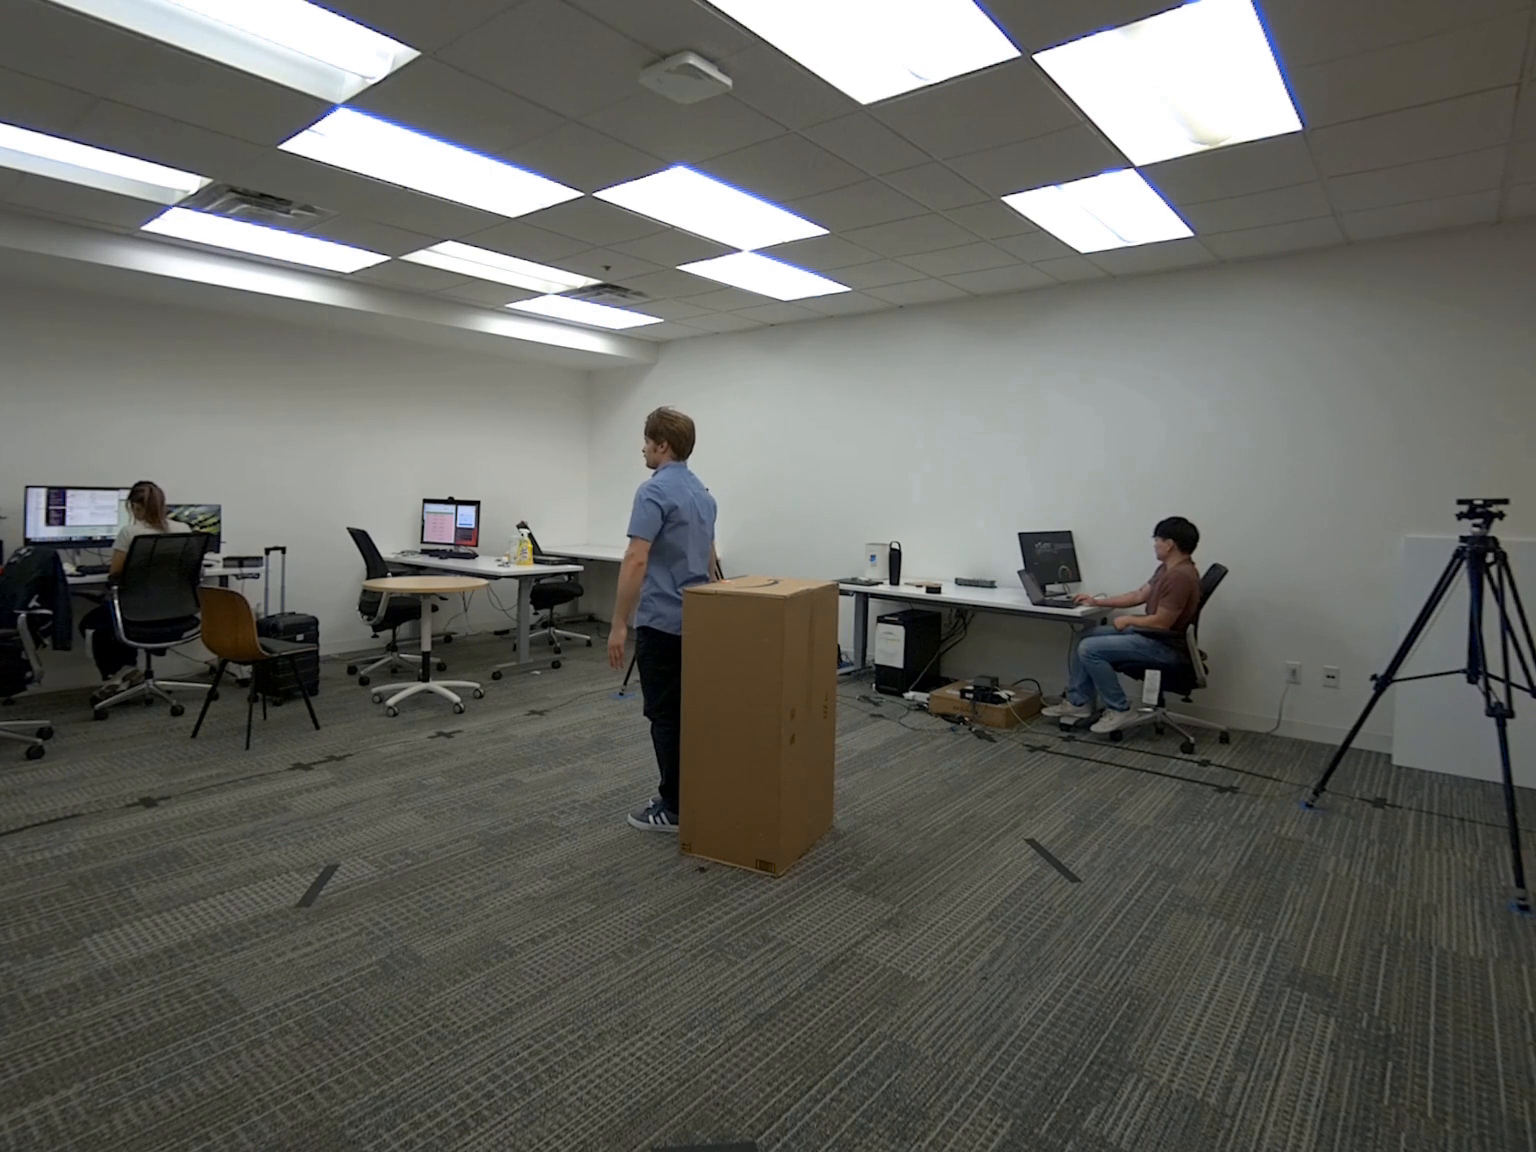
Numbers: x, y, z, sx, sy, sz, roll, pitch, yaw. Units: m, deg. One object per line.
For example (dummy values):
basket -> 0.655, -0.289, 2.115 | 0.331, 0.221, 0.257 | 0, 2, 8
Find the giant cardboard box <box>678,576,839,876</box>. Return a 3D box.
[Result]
giant cardboard box -> -0.031, 0.541, 3.368 | 0.458, 1.024, 0.571 | 3, 4, 25
